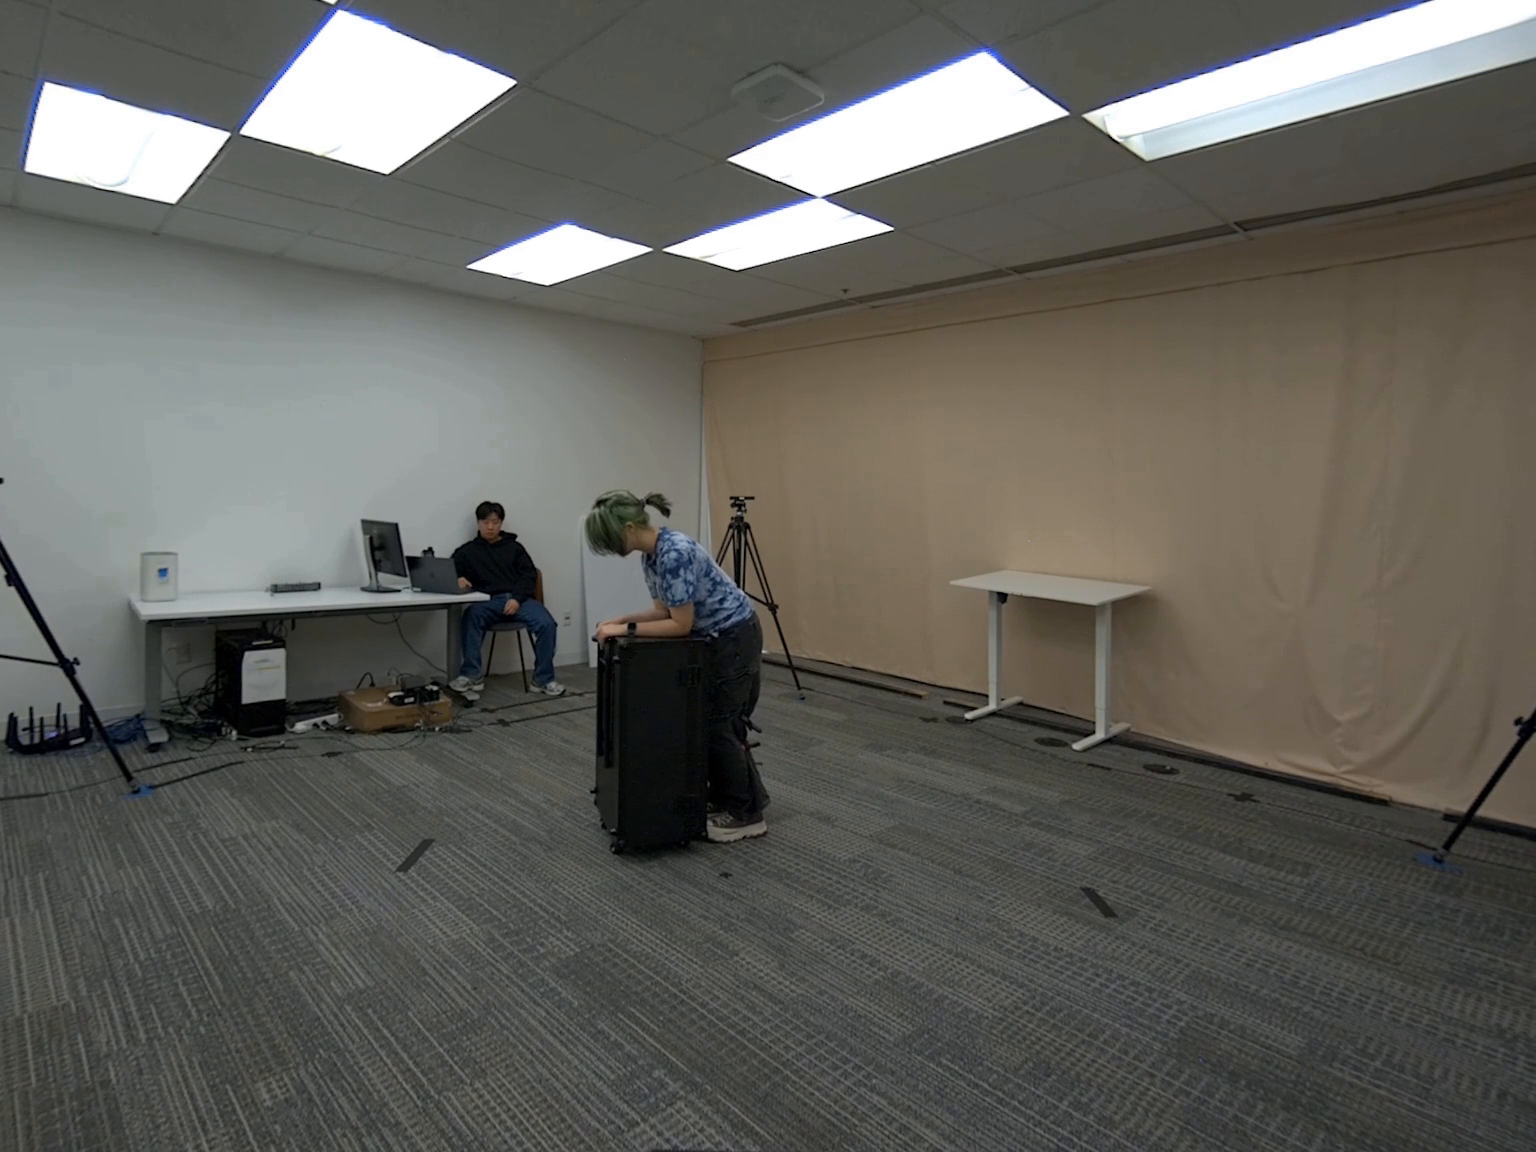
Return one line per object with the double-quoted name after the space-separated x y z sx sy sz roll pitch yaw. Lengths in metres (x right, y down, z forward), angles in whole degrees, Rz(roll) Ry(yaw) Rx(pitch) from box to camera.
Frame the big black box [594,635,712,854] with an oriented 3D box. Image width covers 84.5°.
-0.504 0.584 3.397 0.390 0.859 0.530 0 4 -20 "big black box"
